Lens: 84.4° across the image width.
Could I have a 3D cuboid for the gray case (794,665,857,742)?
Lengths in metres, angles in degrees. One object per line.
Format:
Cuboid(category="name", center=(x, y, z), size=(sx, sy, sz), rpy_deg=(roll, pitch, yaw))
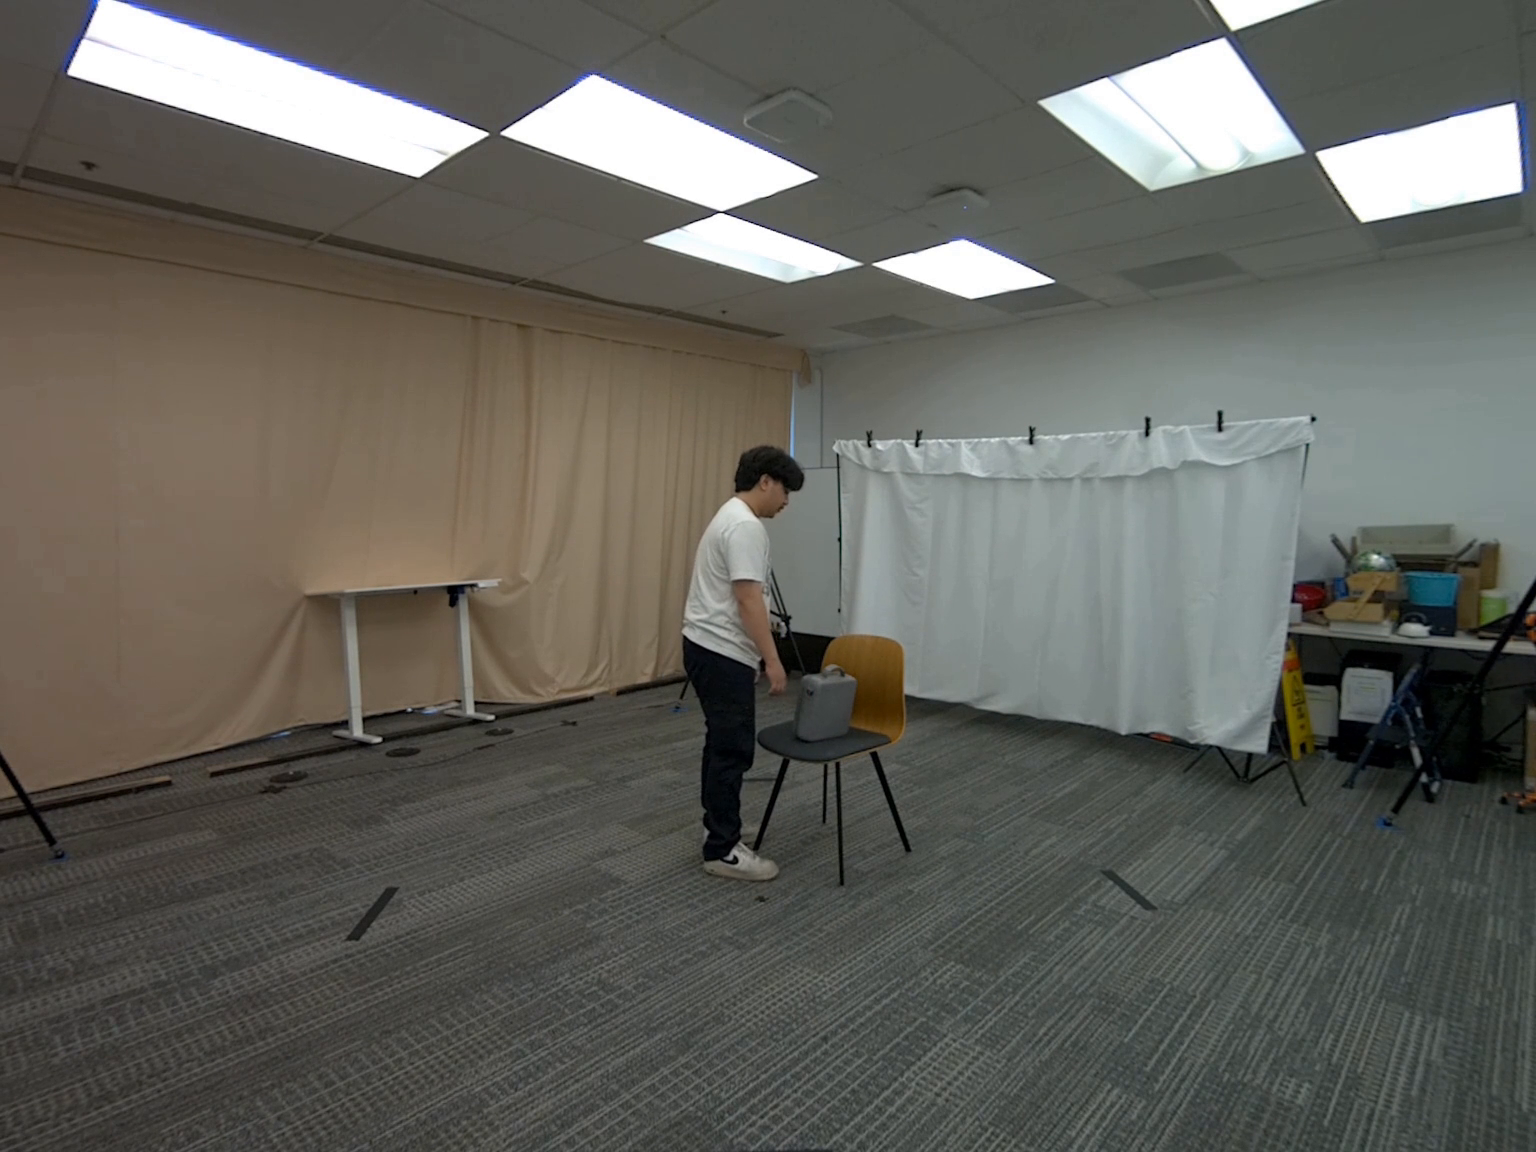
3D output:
Cuboid(category="gray case", center=(0.232, 0.509, 3.323), size=(0.248, 0.260, 0.108), rpy_deg=(2, 11, -45))
